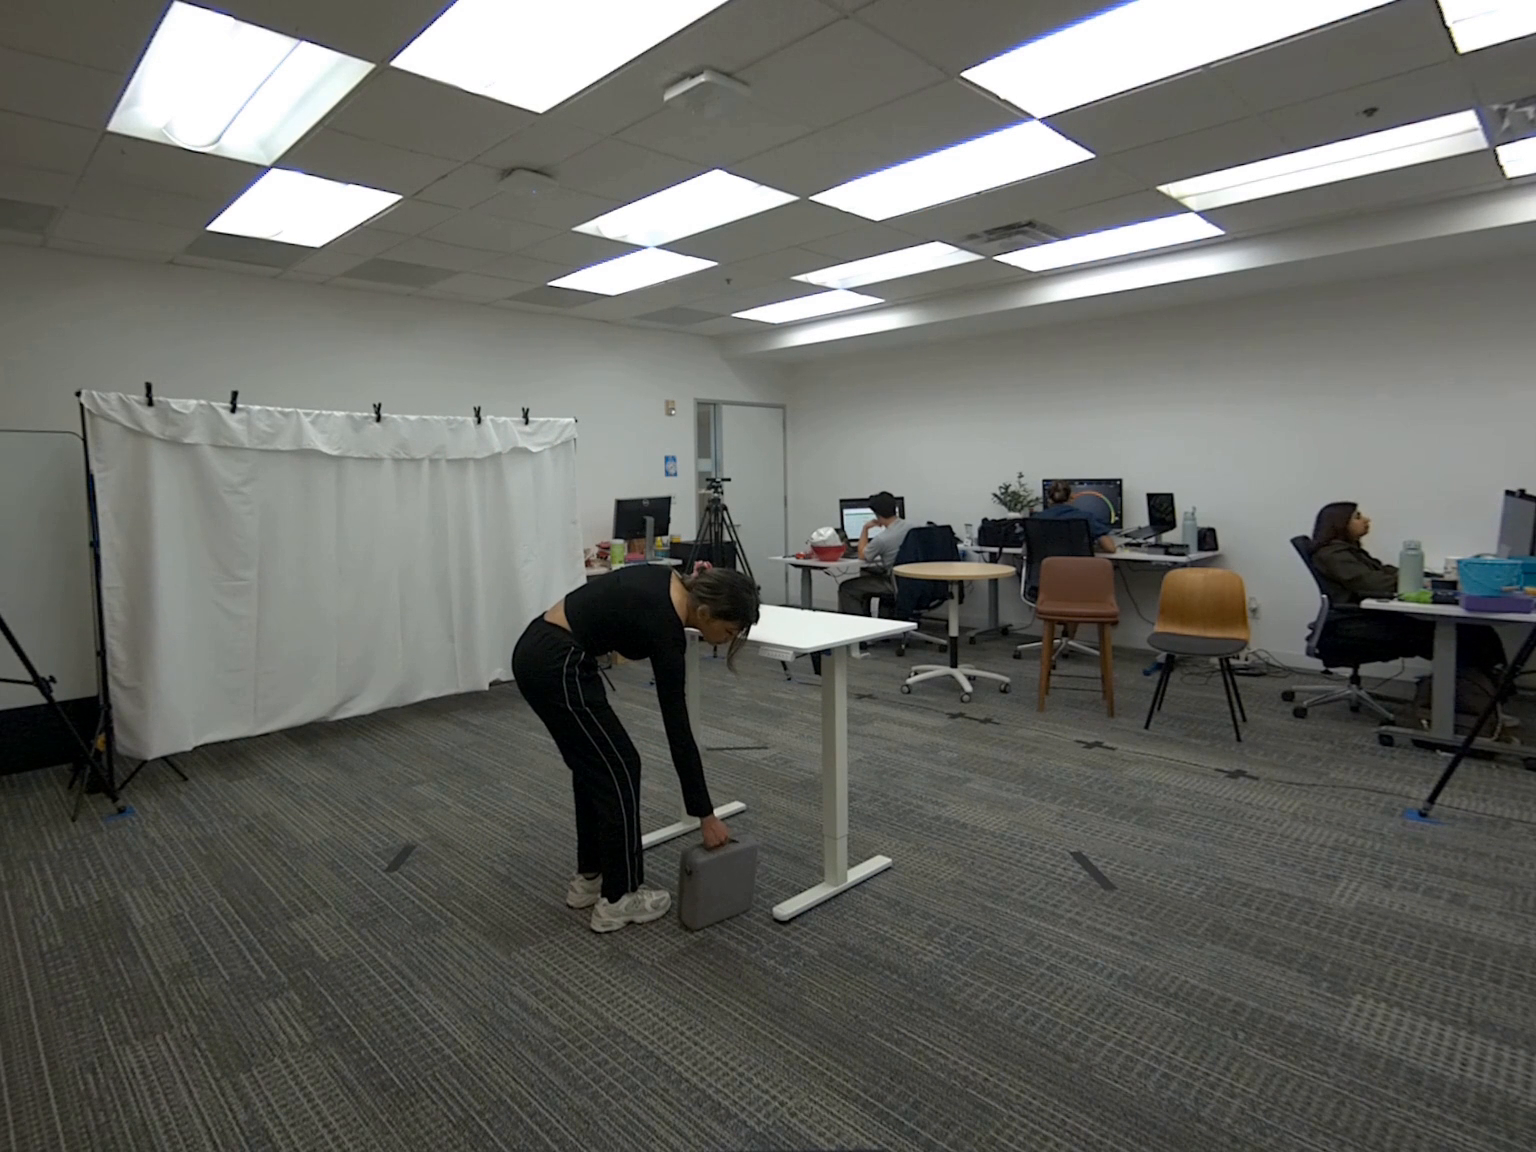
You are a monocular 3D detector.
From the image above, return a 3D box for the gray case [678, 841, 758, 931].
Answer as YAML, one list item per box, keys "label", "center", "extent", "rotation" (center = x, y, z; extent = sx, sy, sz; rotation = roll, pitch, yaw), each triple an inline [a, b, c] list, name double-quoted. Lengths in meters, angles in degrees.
- label: "gray case"
  center: [-0.163, 0.947, 2.719]
  extent: [0.250, 0.259, 0.108]
  rotation: [-1, 10, -31]
